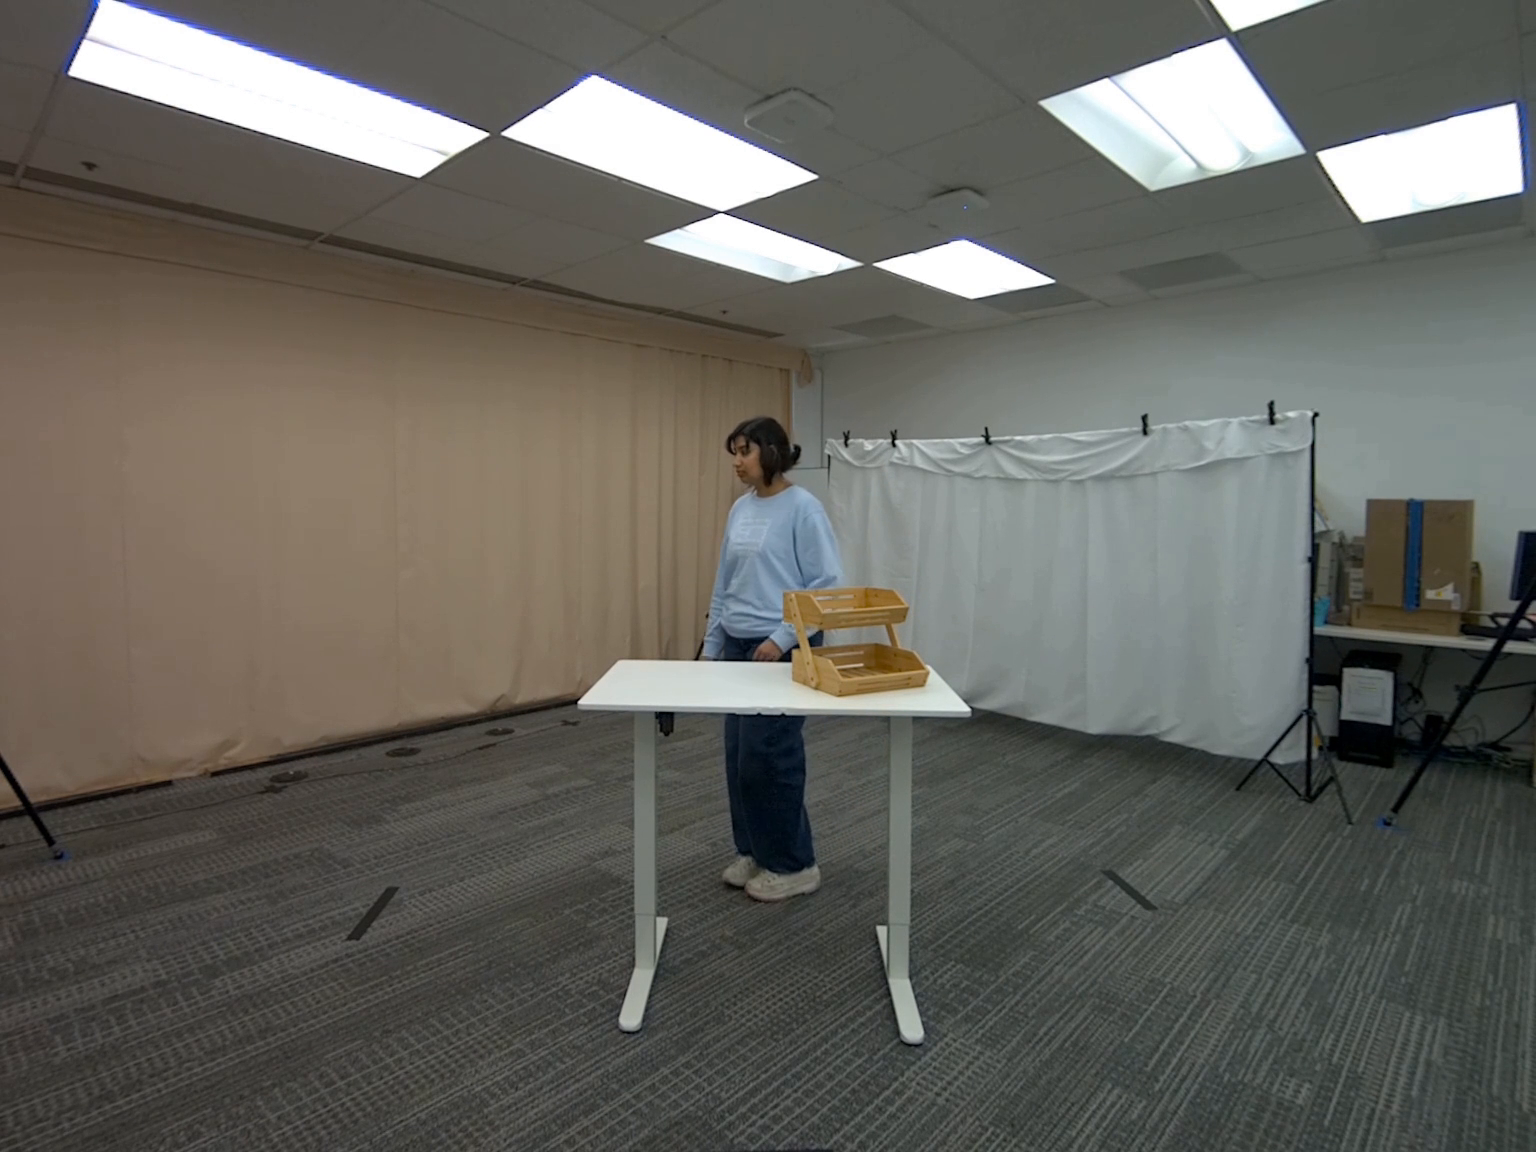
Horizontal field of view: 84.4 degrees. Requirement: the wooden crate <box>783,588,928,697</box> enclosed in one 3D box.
[{"bbox_3d":[0.259,0.179,2.422,0.316,0.273,0.310,-3,4,-27],"label":"wooden crate"}]
